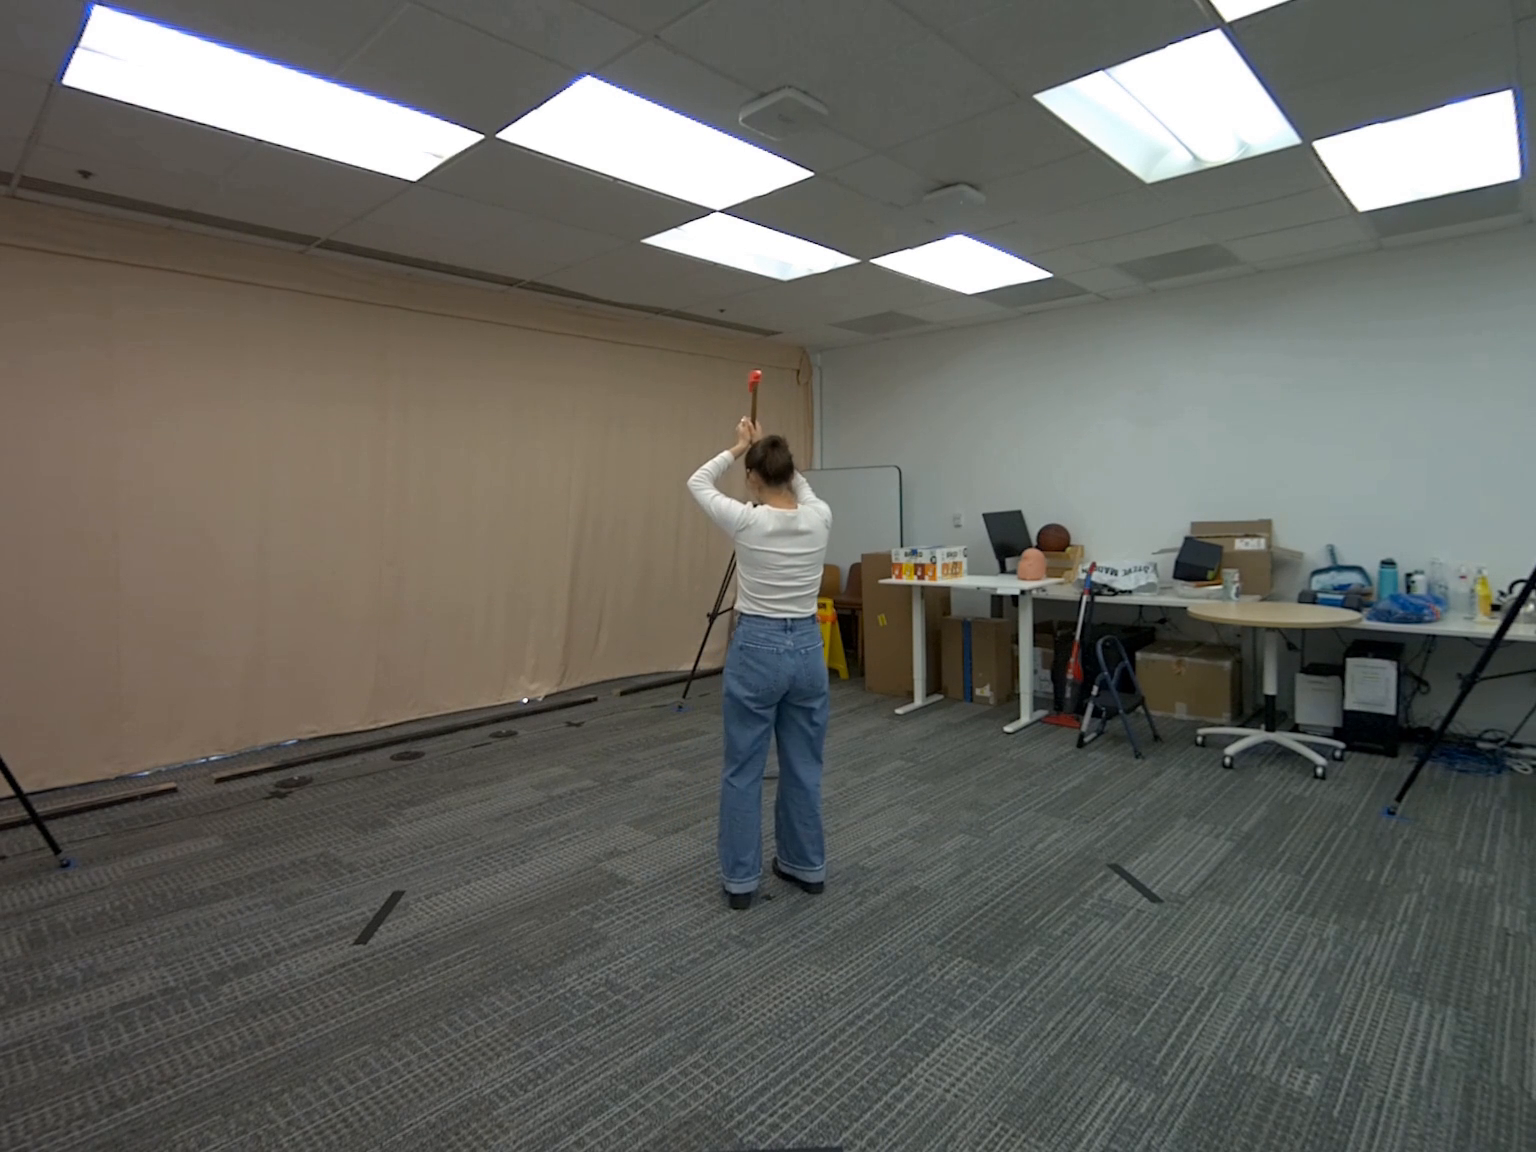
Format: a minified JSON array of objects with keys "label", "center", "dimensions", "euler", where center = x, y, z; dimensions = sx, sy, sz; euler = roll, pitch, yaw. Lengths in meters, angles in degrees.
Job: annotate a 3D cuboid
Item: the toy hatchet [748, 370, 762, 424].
[{"label":"toy hatchet","center":[-0.060,-0.635,3.117],"dimensions":[0.029,0.268,0.135],"euler":[0,19,-21]}]
